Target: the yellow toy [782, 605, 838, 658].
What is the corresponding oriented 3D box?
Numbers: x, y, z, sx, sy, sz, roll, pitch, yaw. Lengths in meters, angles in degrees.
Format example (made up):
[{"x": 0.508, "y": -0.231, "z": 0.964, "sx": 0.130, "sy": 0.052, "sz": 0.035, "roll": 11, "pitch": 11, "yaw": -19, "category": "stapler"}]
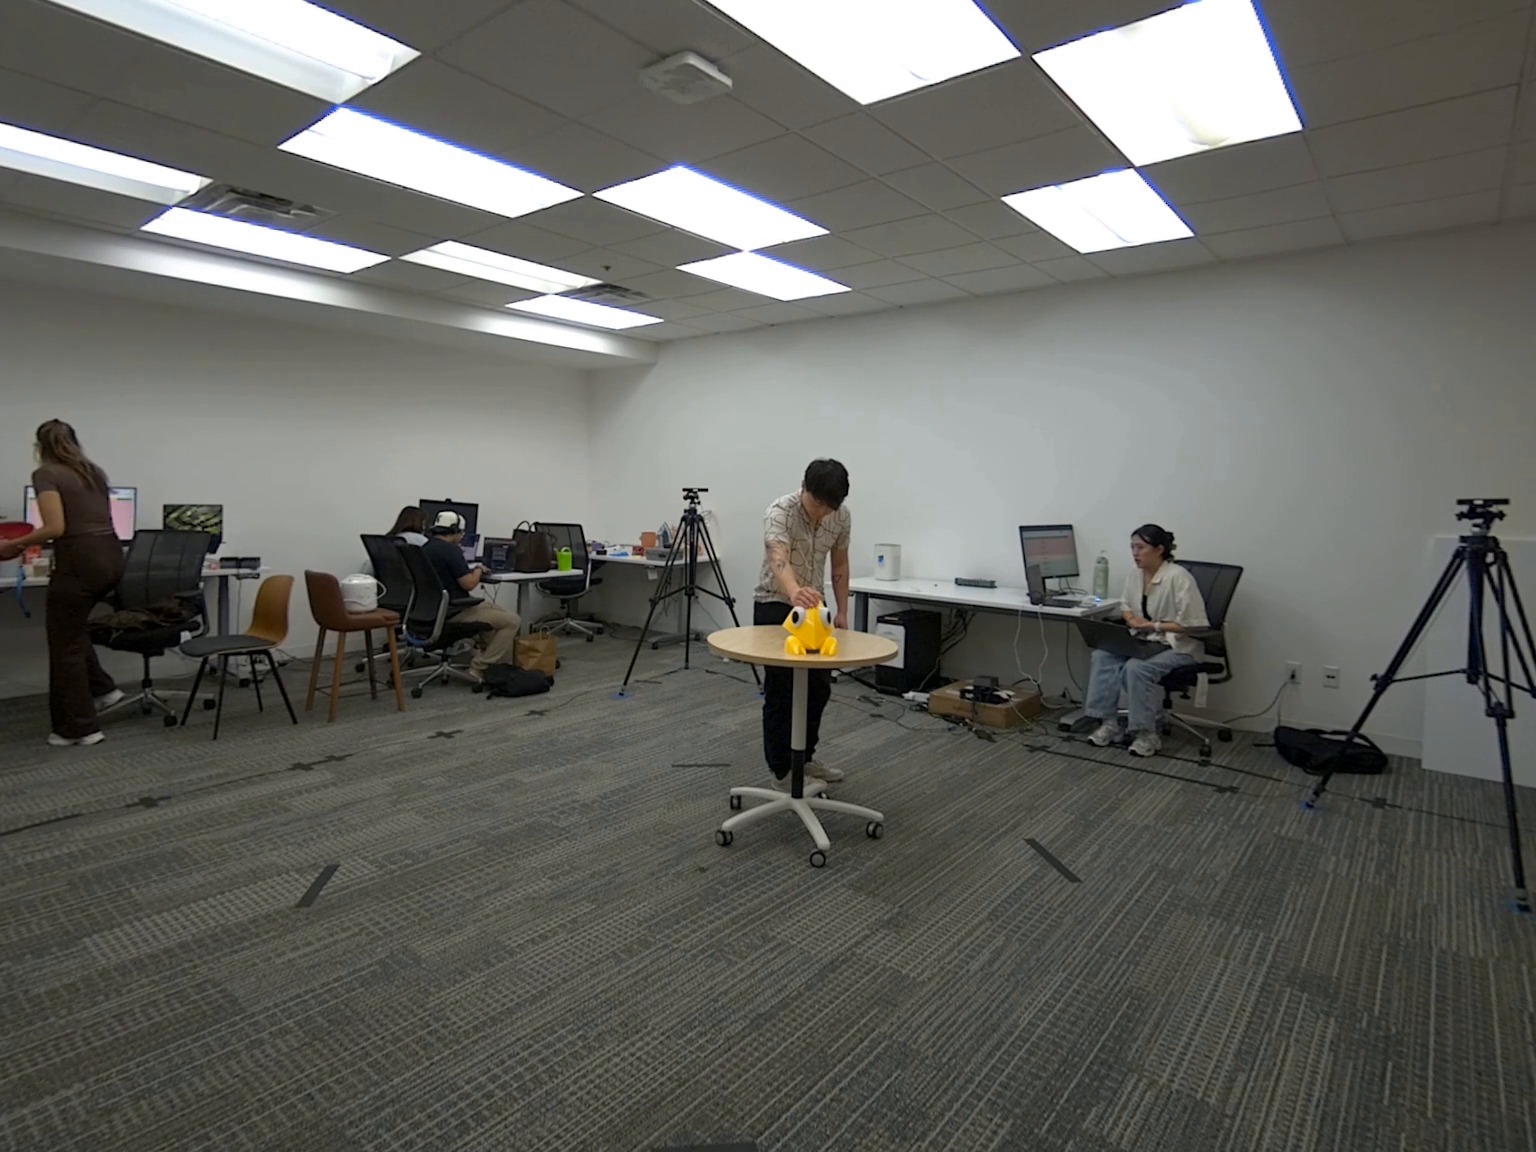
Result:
[{"x": 0.160, "y": 0.169, "z": 3.247, "sx": 0.204, "sy": 0.230, "sz": 0.194, "roll": 2, "pitch": 3, "yaw": -4, "category": "yellow toy"}]
